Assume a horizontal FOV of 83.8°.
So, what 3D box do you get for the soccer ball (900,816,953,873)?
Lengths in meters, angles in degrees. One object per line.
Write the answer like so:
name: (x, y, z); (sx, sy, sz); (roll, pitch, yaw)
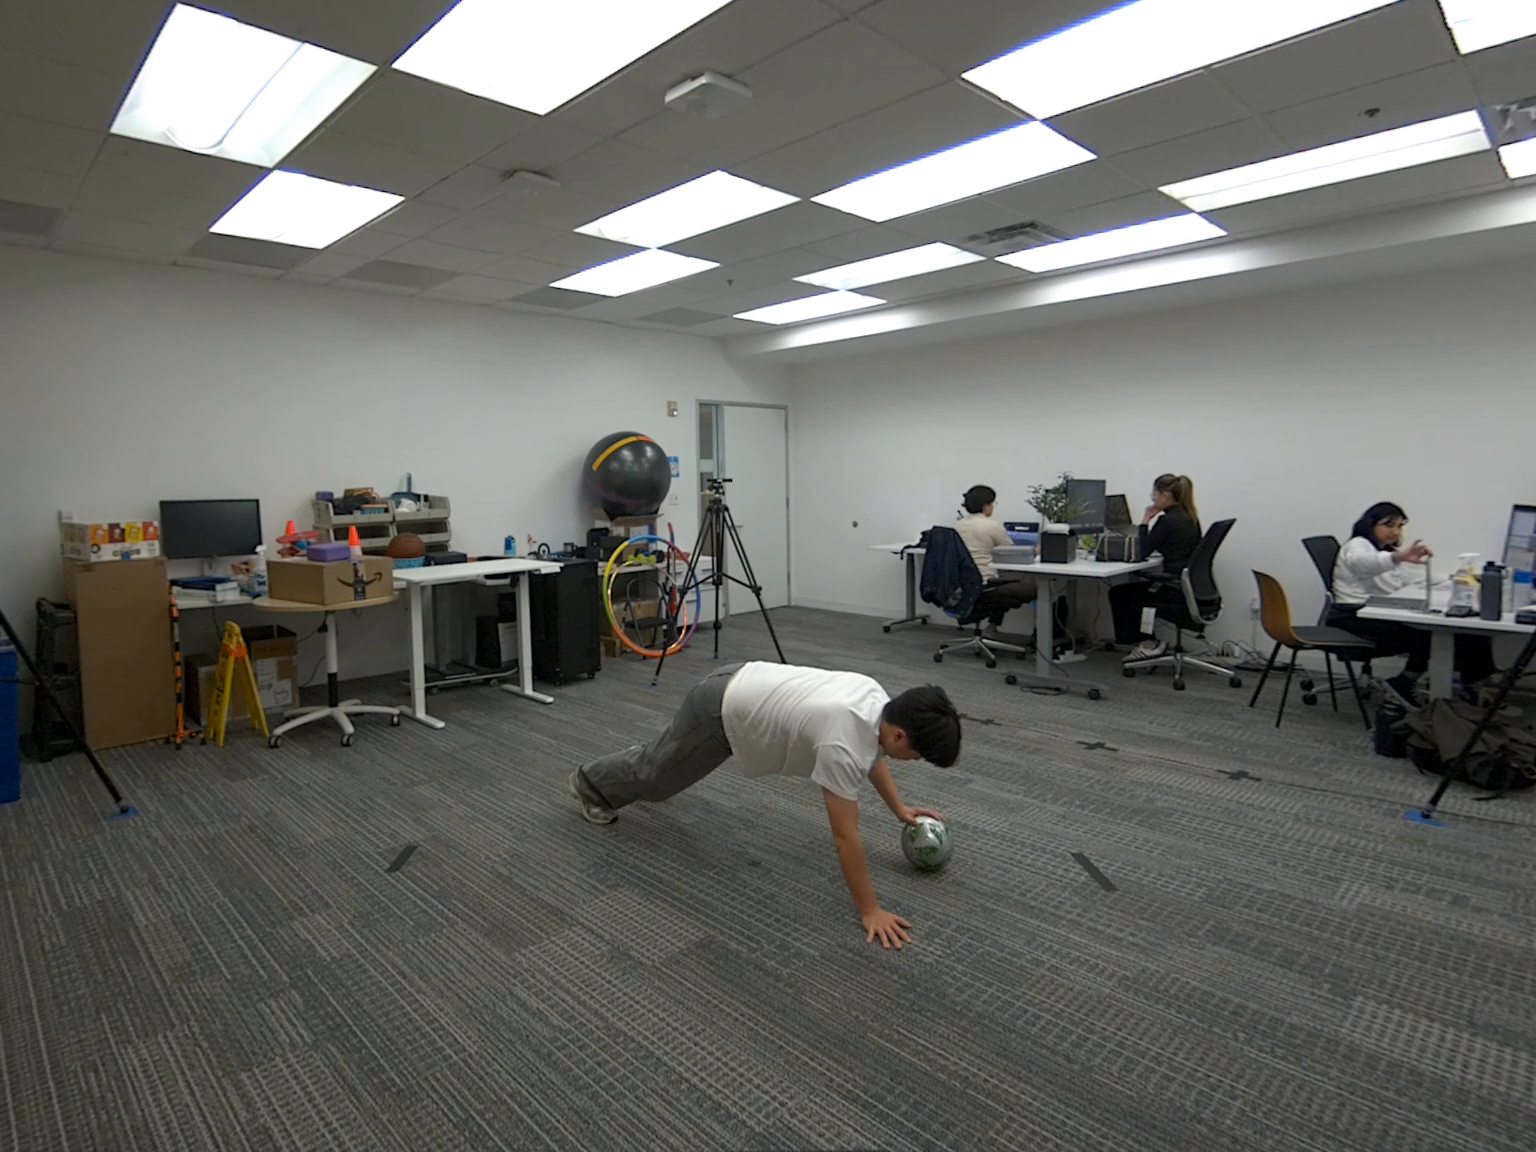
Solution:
soccer ball: (0.568, 0.946, 3.039); (0.187, 0.187, 0.188); (-1, 5, -2)
